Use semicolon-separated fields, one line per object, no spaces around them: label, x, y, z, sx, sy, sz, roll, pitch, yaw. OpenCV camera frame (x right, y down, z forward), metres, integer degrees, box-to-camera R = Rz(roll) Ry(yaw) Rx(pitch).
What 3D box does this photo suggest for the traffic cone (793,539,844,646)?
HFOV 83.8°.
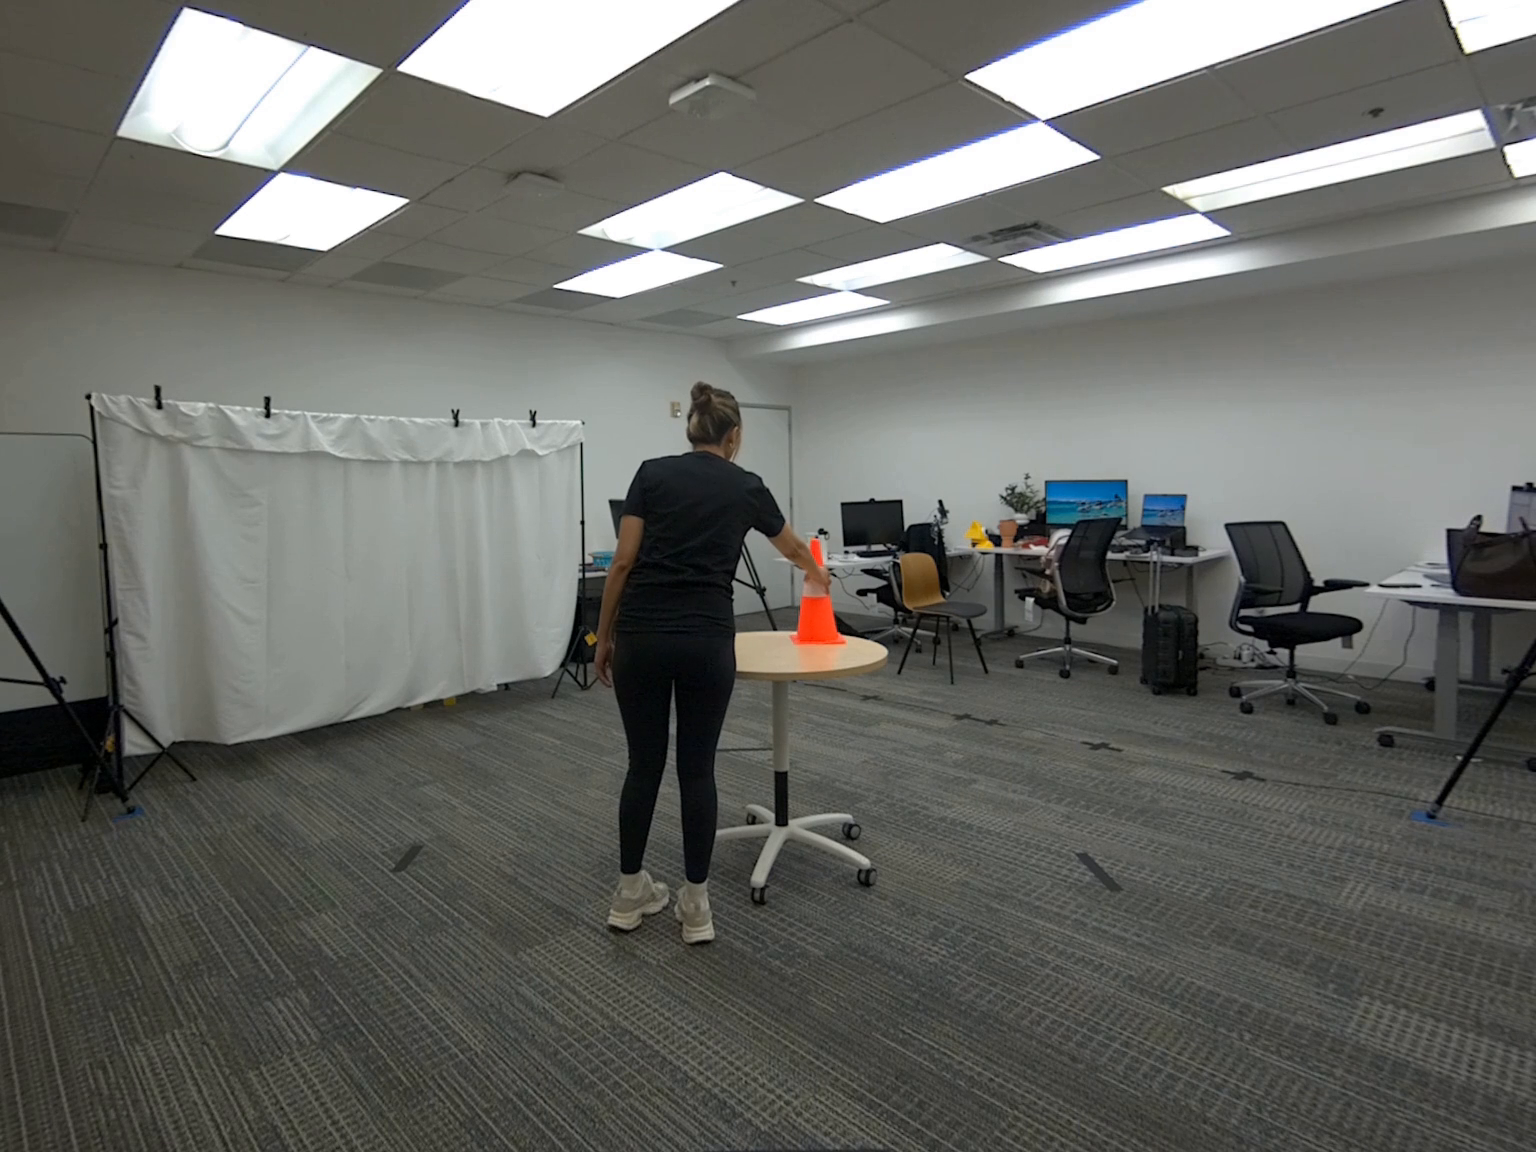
traffic cone;0.187;0.052;3.252;0.202;0.382;0.207;-2;5;-6
